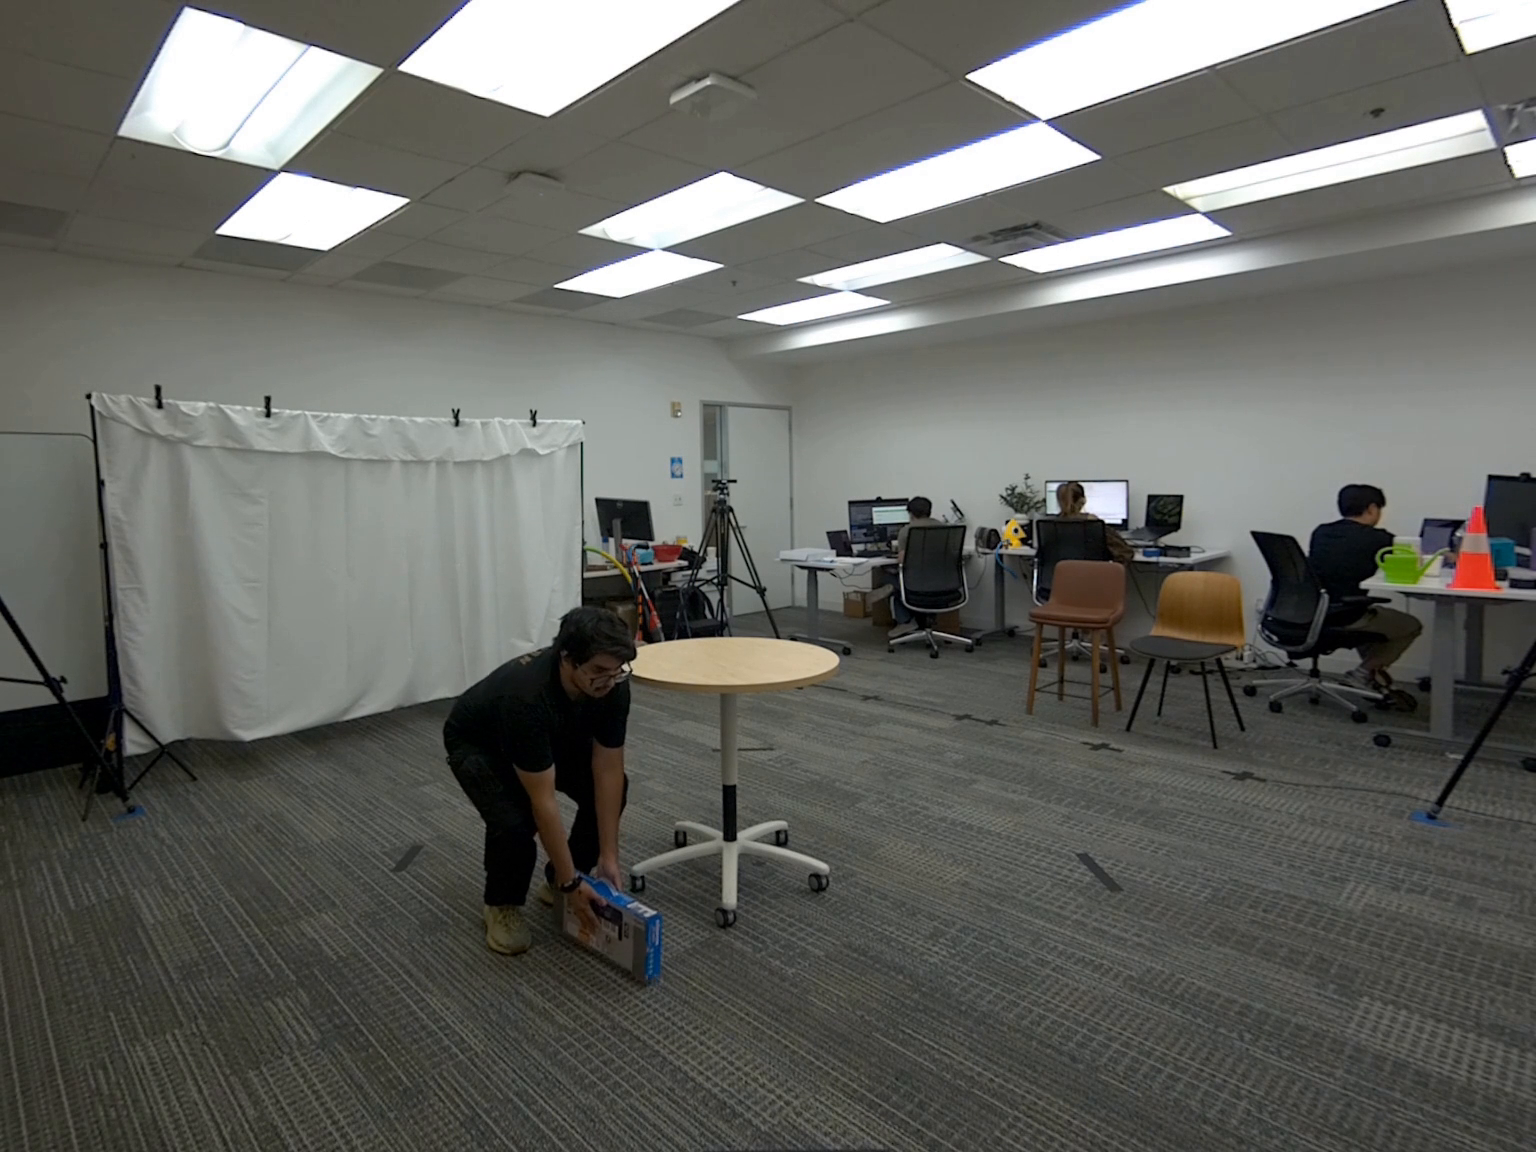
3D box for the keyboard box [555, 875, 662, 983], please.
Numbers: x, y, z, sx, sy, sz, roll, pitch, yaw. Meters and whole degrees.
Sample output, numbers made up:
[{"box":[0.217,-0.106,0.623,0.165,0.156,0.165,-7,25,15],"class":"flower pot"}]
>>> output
[{"box":[-0.483,1.006,2.514,0.450,0.176,0.057,5,3,42],"class":"keyboard box"}]
